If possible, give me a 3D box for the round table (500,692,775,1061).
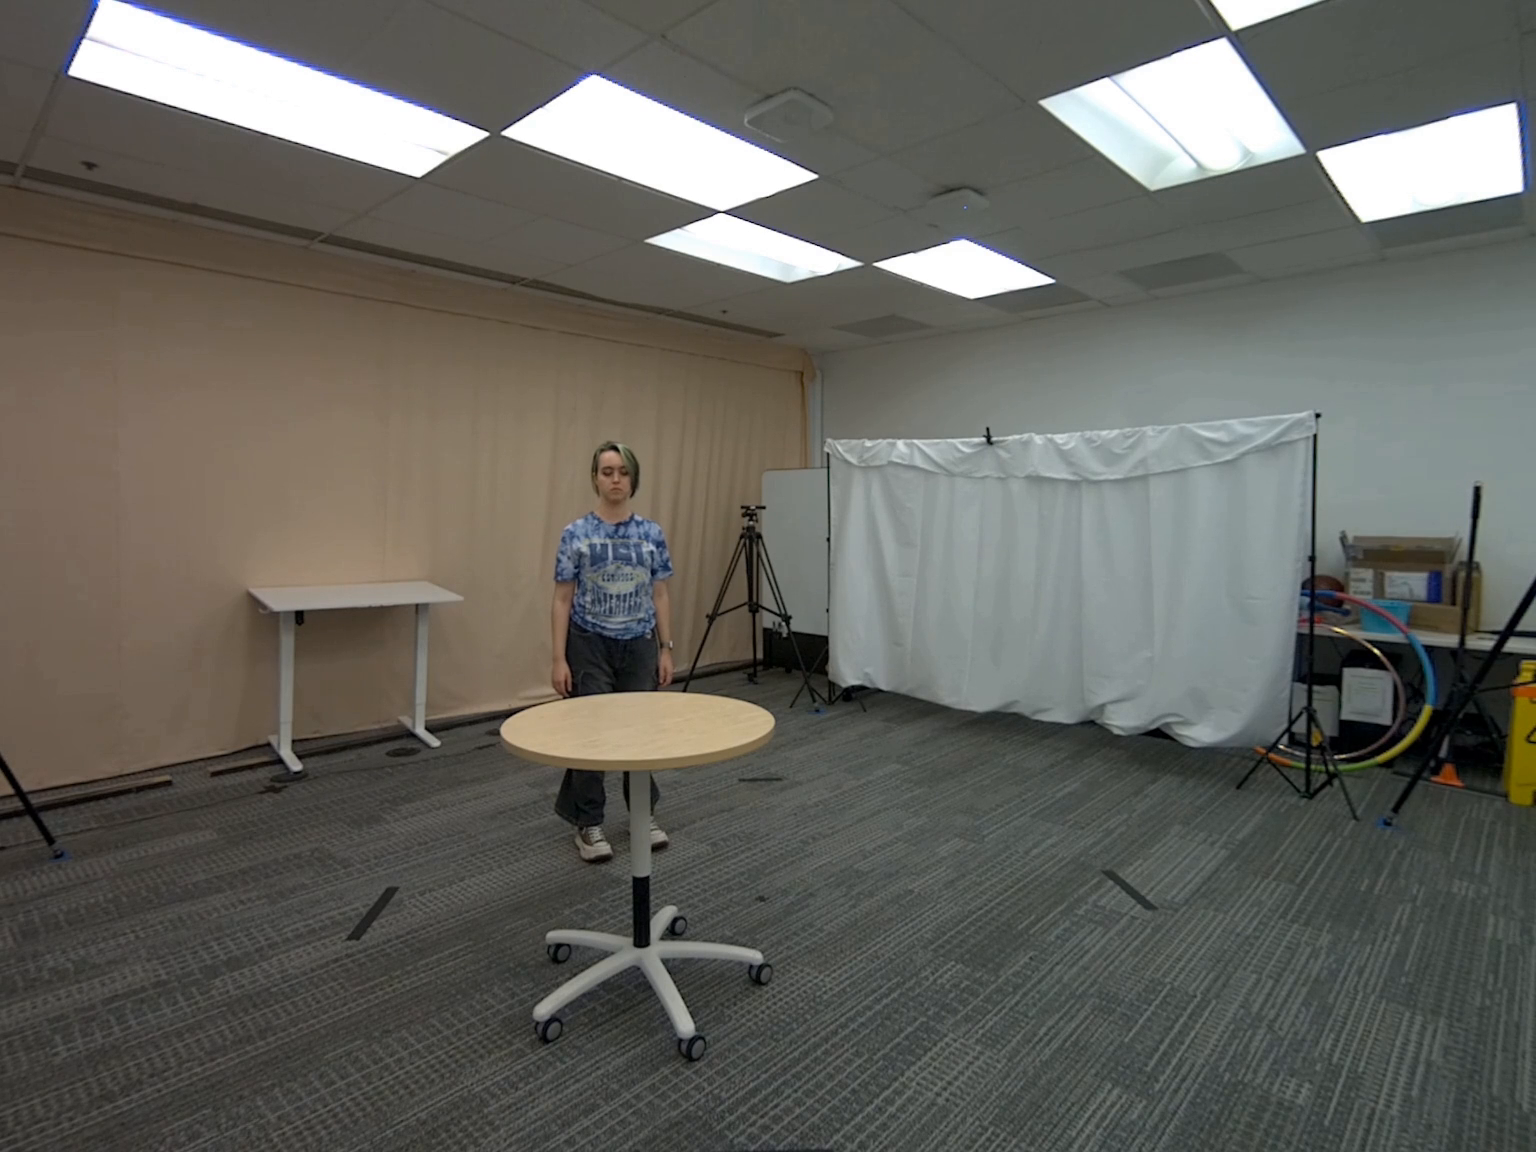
[{"bbox_3d":[-0.362,0.808,2.394,0.763,0.792,0.766,-1,4,-2],"label":"round table"}]
